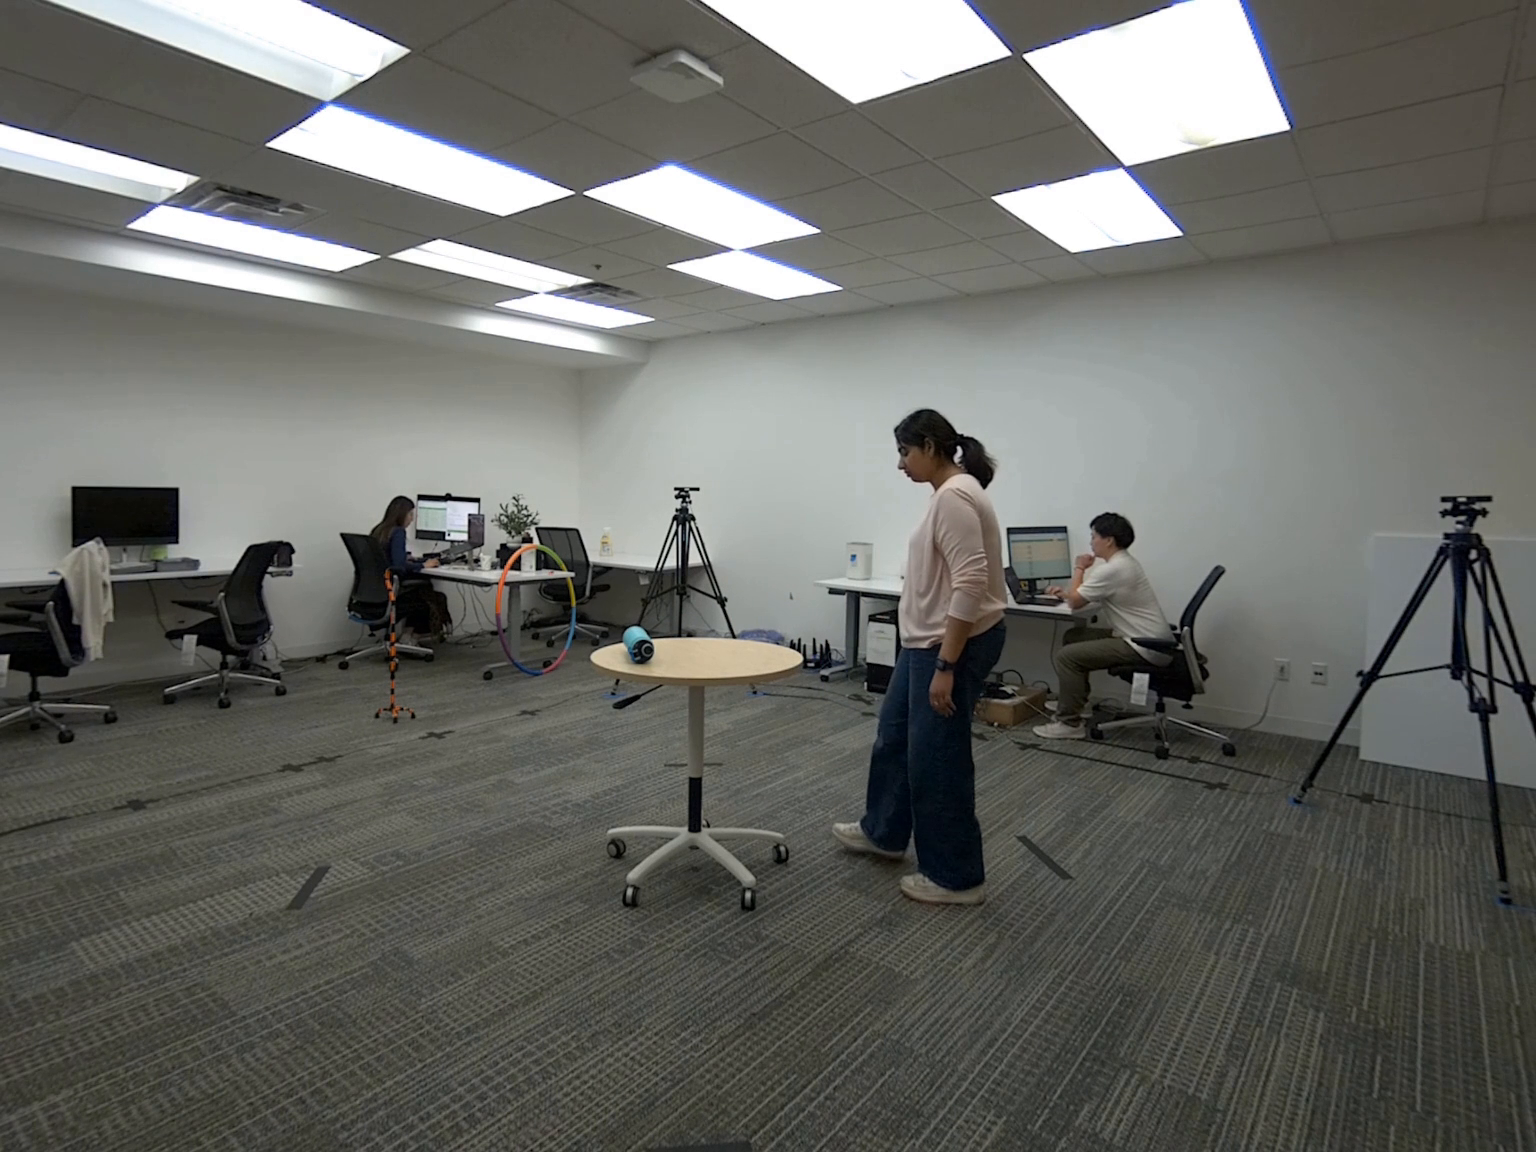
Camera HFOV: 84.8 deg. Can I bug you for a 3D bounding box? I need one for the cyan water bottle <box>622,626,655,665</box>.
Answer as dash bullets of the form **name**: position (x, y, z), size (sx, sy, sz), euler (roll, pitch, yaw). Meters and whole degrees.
- **cyan water bottle**: position (-0.468, 0.245, 3.031), size (0.091, 0.092, 0.288), euler (0, 5, -13)
